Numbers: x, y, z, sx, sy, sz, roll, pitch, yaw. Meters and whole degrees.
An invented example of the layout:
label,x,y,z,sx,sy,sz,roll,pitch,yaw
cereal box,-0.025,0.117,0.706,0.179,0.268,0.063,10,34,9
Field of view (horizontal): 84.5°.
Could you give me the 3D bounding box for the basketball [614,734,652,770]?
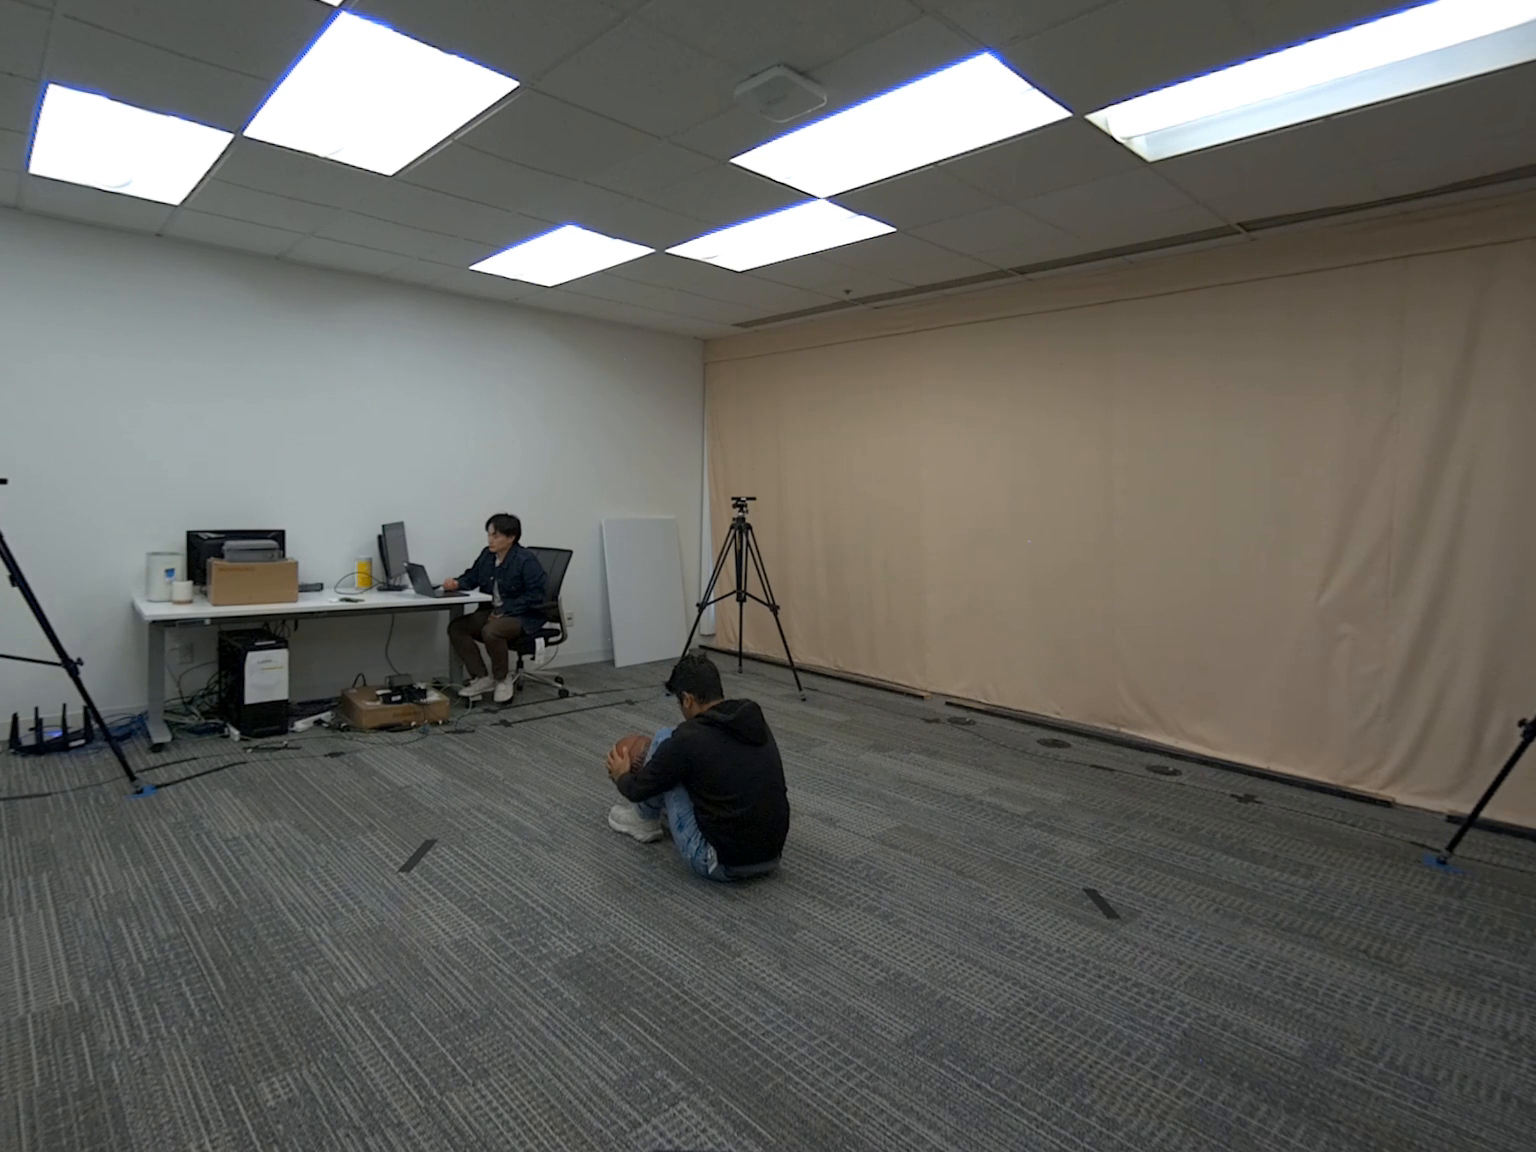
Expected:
label,x,y,z,sx,sy,sz,roll,pitch,yaw
basketball,-0.560,0.797,3.607,0.236,0.235,0.237,1,4,-1
